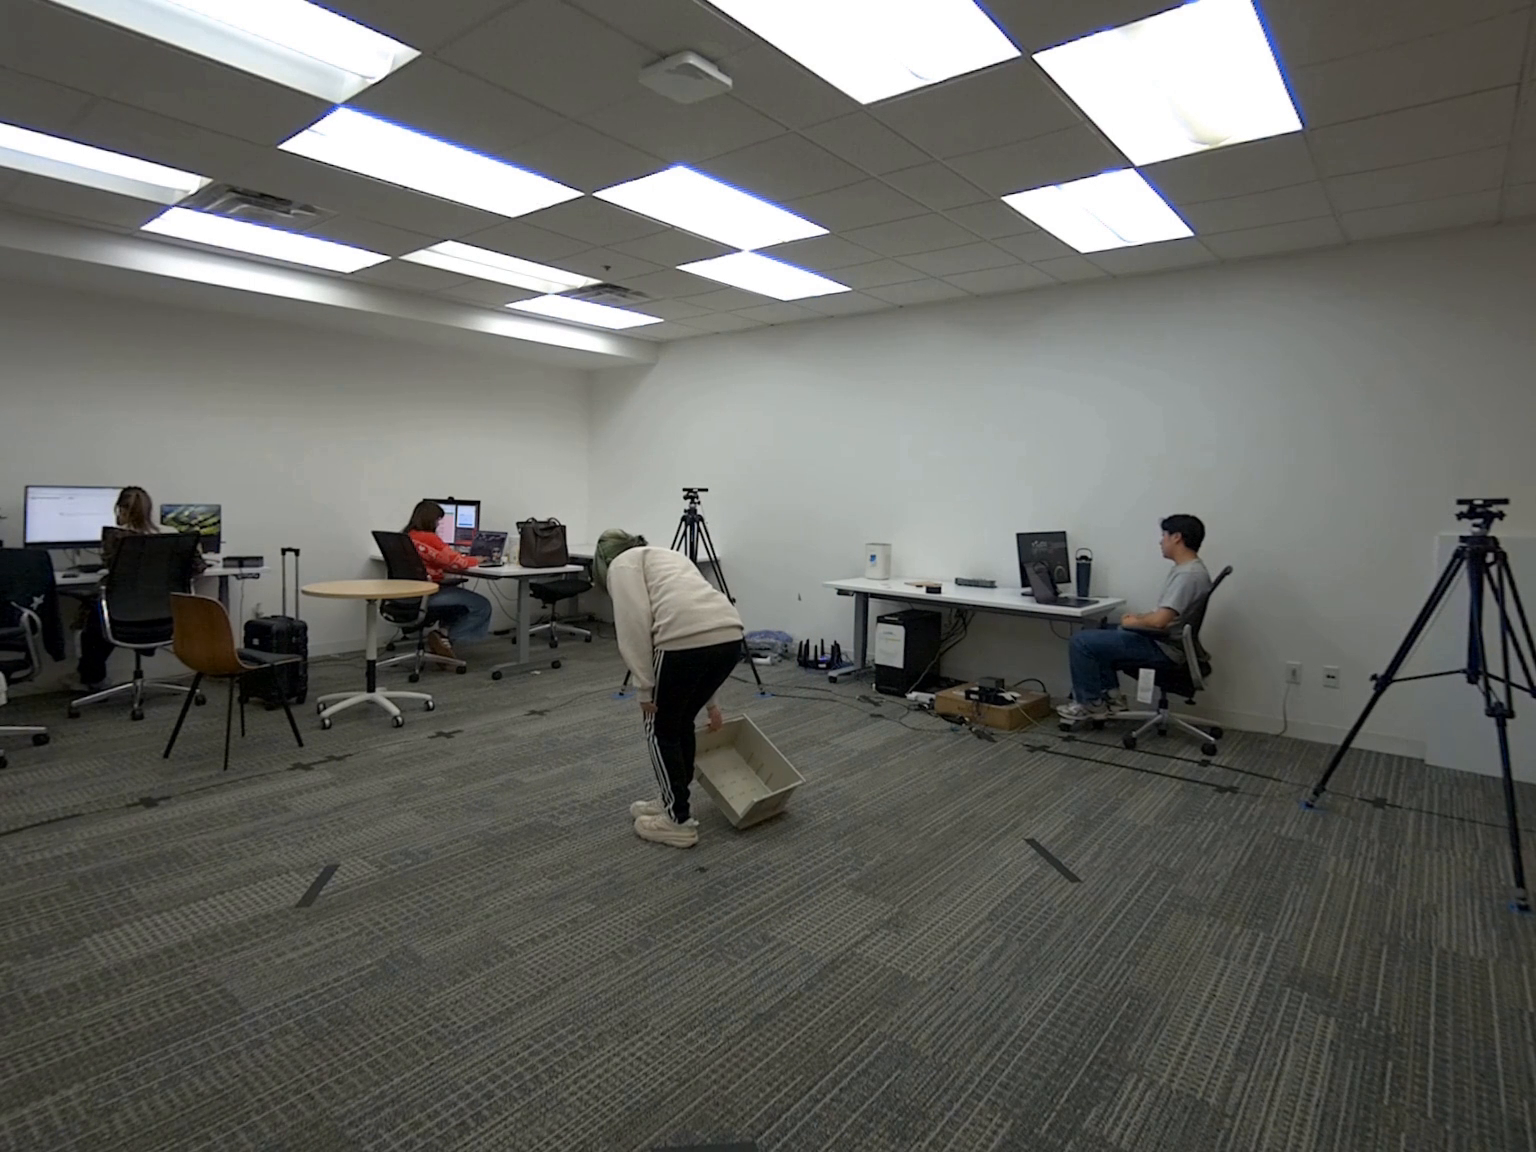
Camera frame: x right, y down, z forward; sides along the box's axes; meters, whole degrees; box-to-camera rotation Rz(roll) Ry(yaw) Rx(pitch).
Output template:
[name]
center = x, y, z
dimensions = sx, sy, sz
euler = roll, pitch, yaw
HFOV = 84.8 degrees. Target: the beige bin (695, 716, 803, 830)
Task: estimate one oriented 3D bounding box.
[beige bin]
center = -0.135, 0.830, 3.649
dimensions = 0.439, 0.187, 0.366
euler = 41, 26, 31
